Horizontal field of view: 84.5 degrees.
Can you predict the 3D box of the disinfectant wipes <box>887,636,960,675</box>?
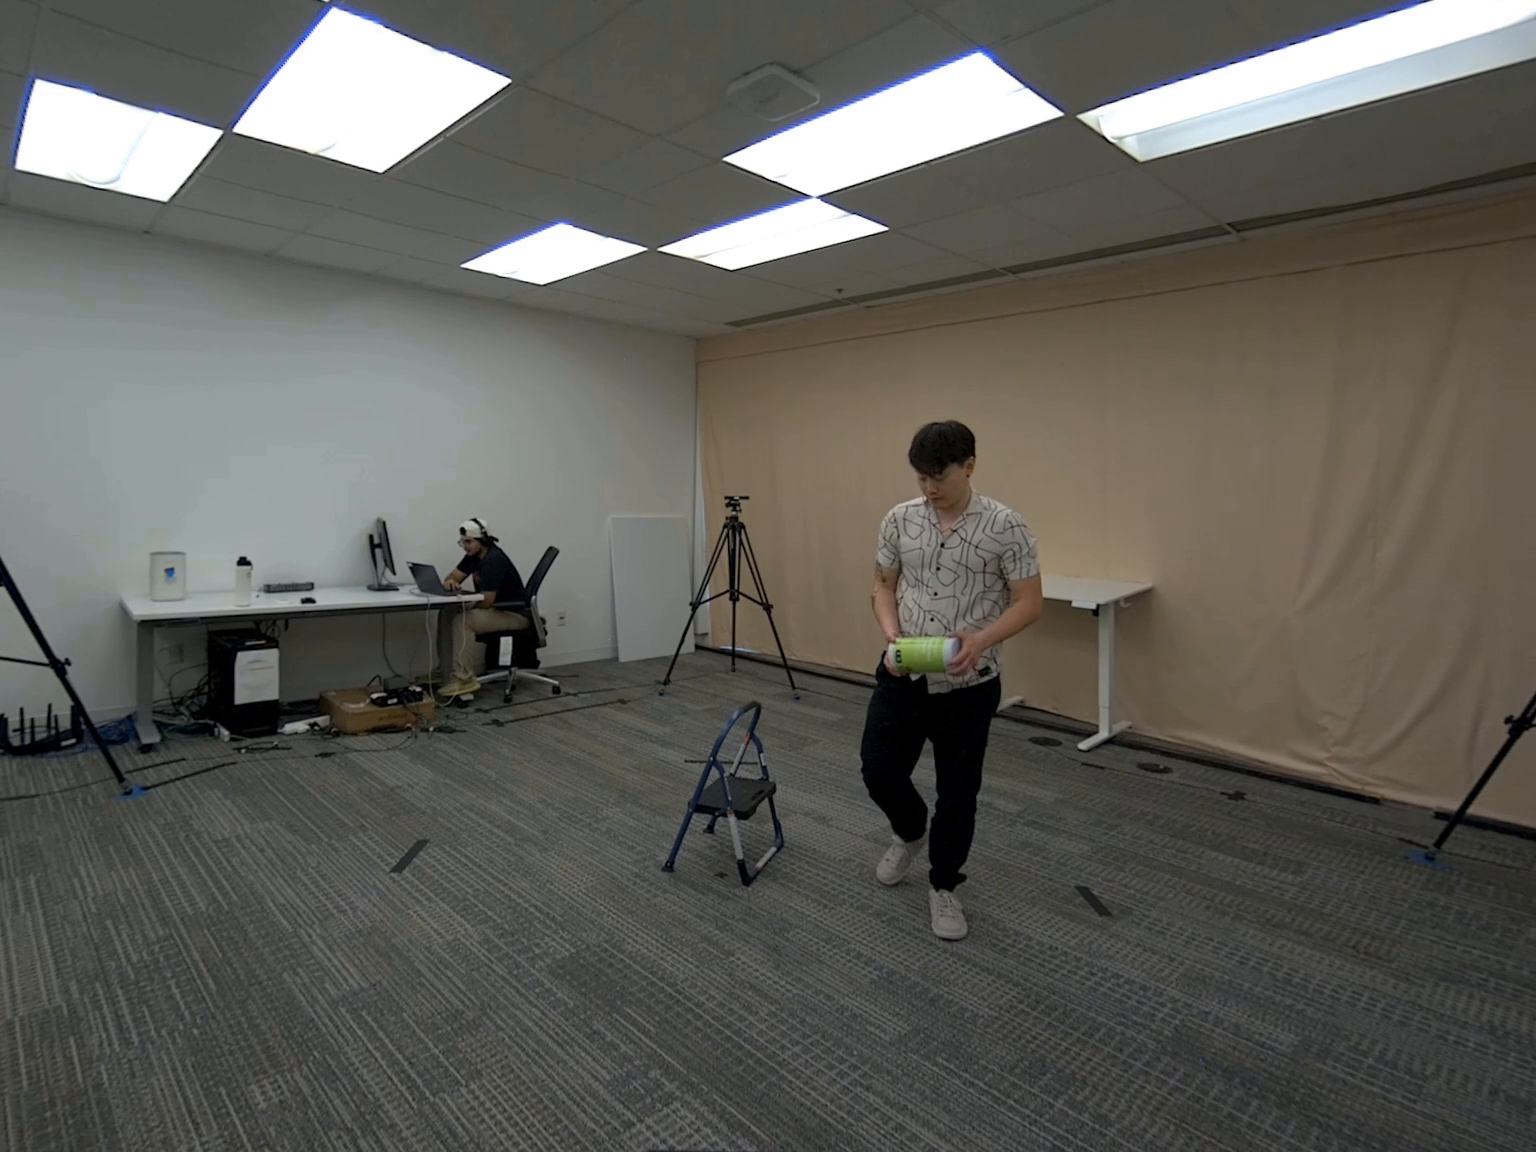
[{"bbox_3d":[0.469,0.233,2.582,0.222,0.118,0.115,-5,-1,39],"label":"disinfectant wipes"}]
